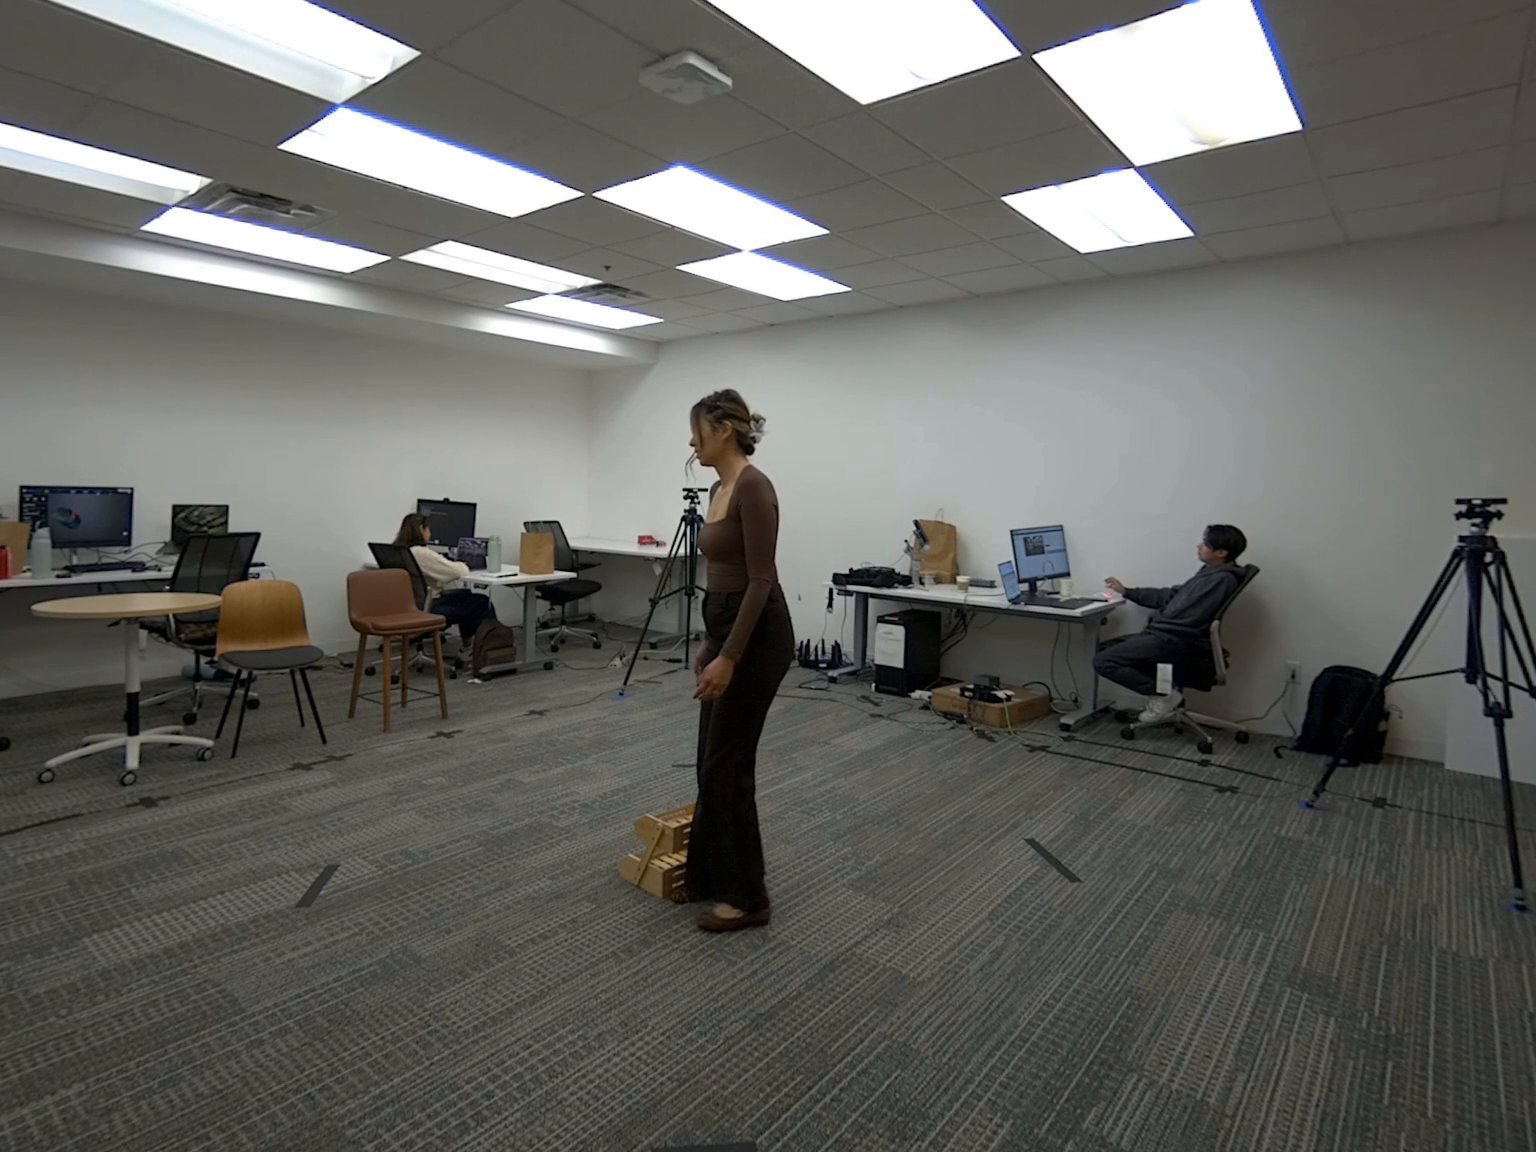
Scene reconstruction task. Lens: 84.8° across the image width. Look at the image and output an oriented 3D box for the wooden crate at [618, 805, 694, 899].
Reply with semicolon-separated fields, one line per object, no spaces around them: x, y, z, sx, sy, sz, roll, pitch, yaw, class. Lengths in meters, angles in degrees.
-0.341;0.938;3.047;0.312;0.272;0.315;5;6;43;wooden crate
